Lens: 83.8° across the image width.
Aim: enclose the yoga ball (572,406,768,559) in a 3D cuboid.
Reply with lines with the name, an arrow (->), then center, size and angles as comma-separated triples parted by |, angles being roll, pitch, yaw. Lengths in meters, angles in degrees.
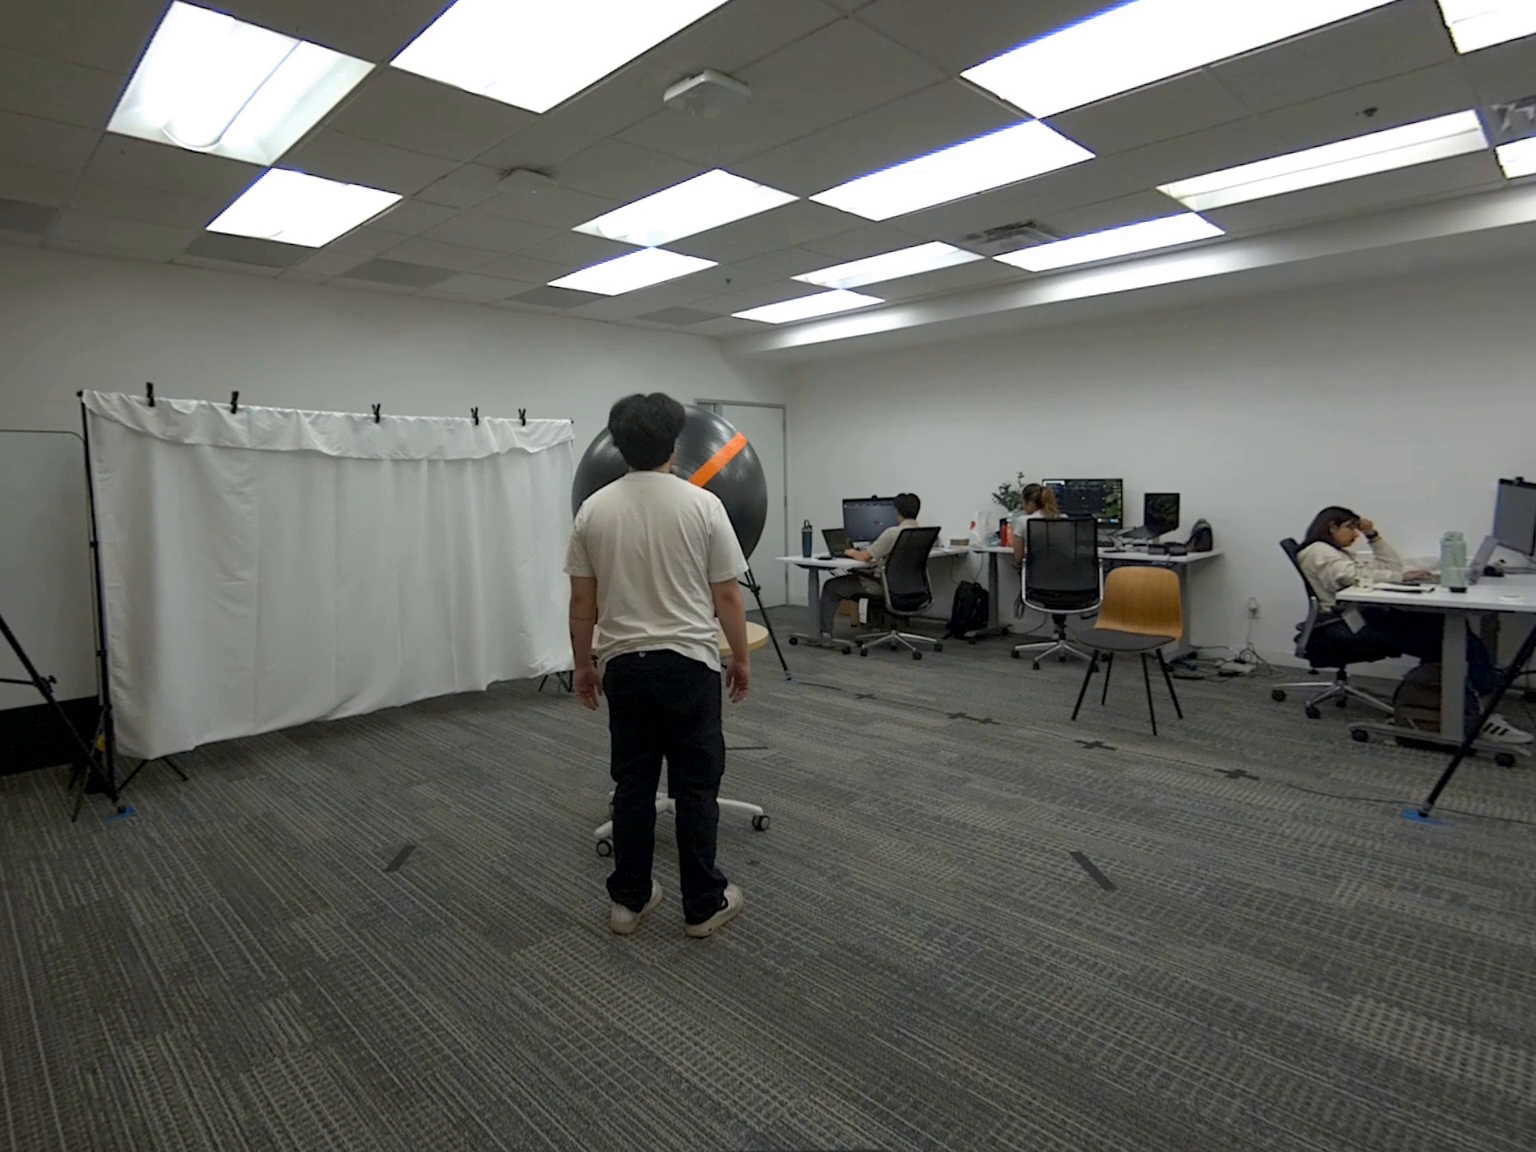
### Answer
yoga ball -> -0.381, -0.286, 3.328 | 0.757, 0.755, 0.762 | -1, 5, -2
